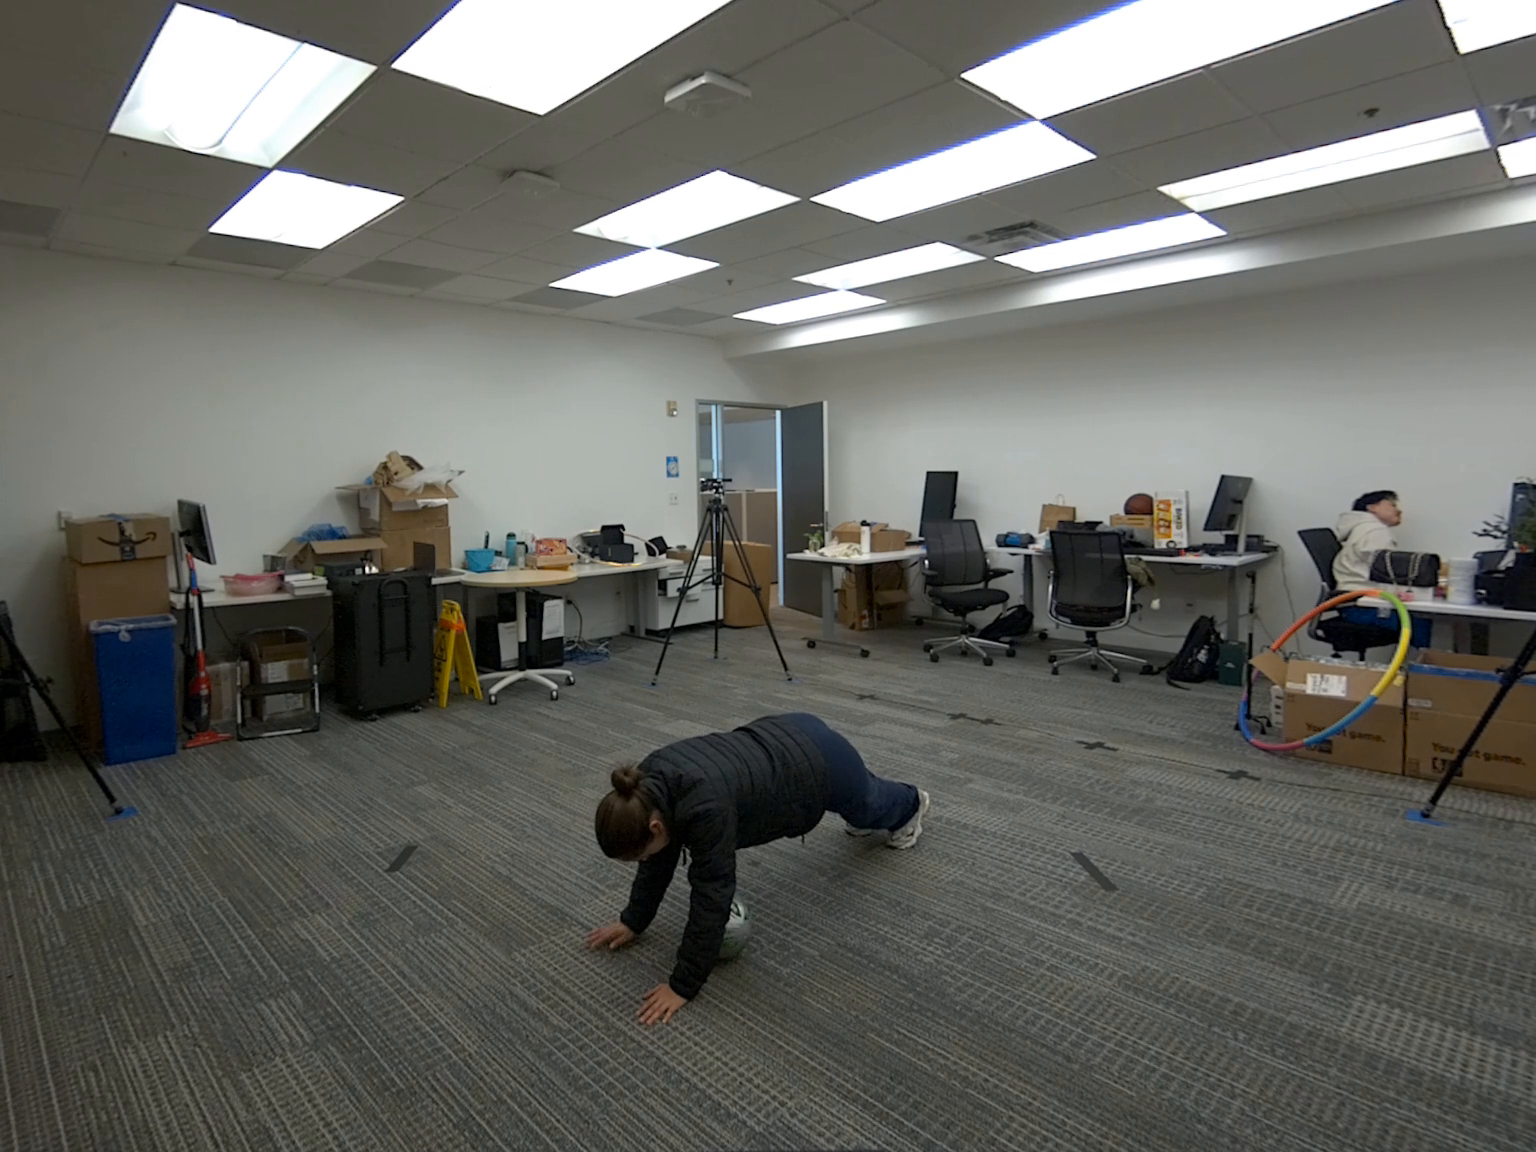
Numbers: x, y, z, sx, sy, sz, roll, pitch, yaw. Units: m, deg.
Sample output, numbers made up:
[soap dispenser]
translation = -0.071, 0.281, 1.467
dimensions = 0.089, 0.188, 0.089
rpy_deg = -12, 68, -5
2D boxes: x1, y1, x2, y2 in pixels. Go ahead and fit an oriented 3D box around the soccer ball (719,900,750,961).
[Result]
[soccer ball]
translation = -0.127, 1.027, 2.503
dimensions = 0.187, 0.187, 0.188
rpy_deg = -1, 5, -2
